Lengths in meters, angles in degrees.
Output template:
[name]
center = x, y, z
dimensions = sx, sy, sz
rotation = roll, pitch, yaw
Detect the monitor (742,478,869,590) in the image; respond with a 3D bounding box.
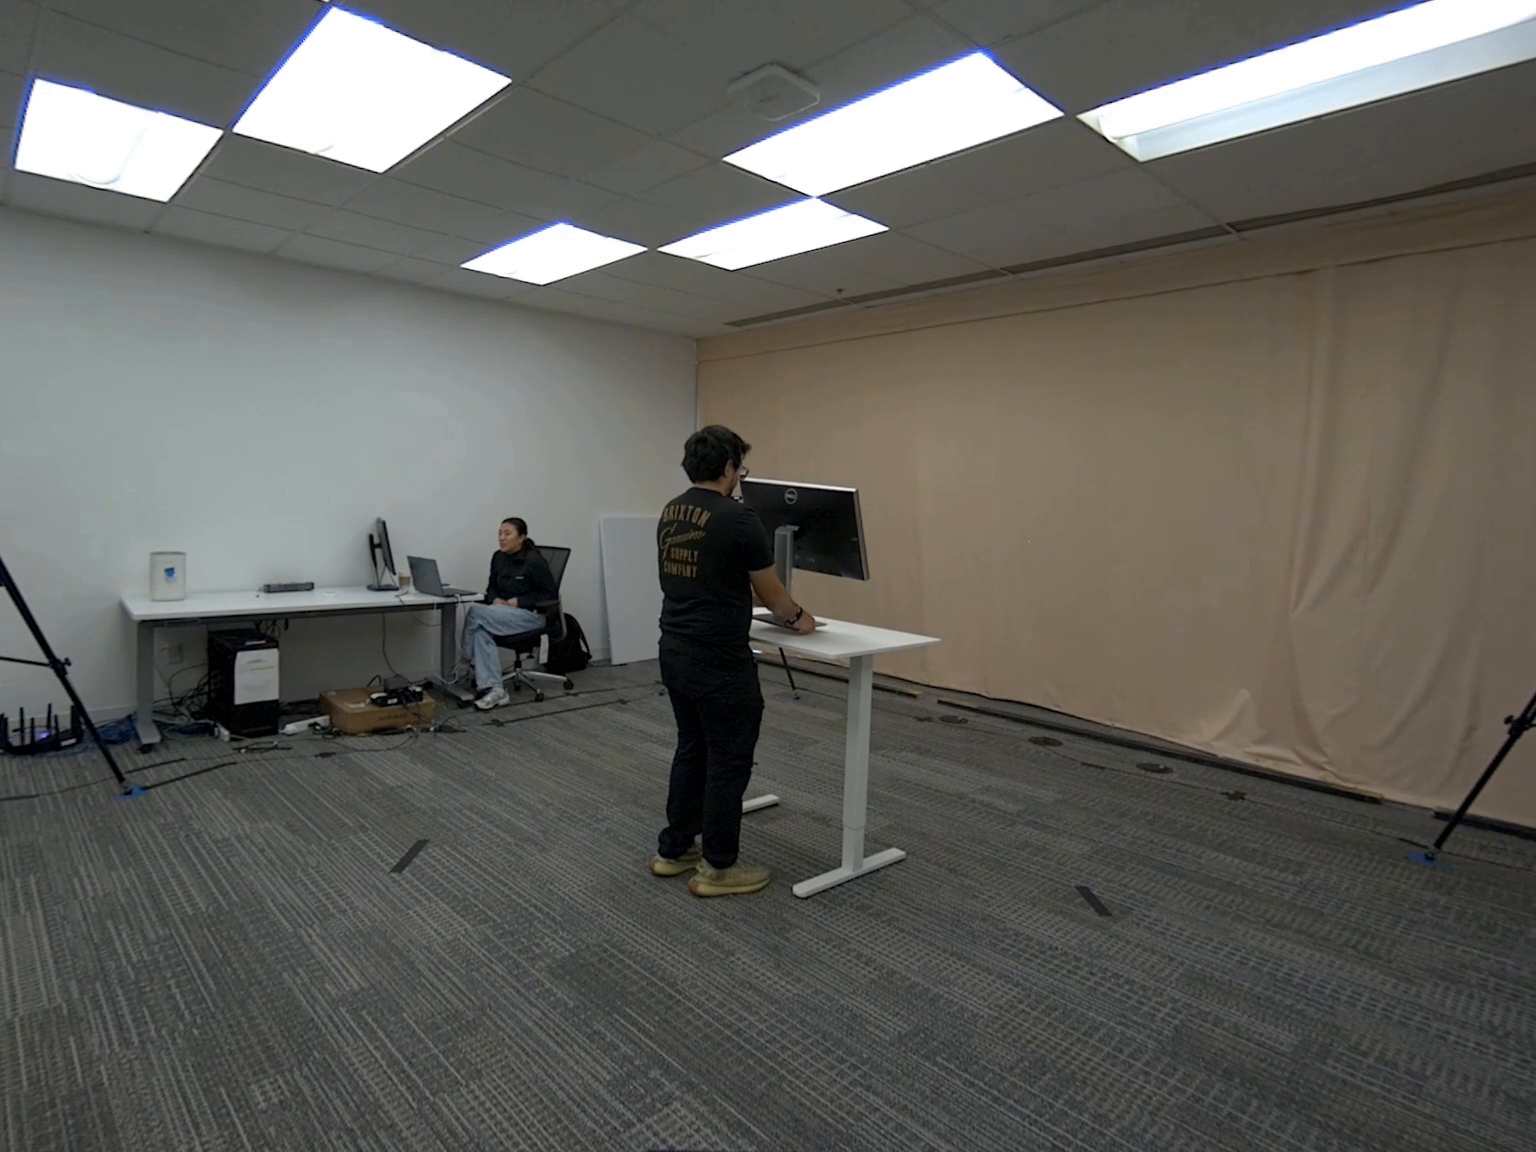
[monitor]
center = 0.082, -0.081, 3.229
dimensions = 0.581, 0.547, 0.207
rotation = 12, 22, 41
